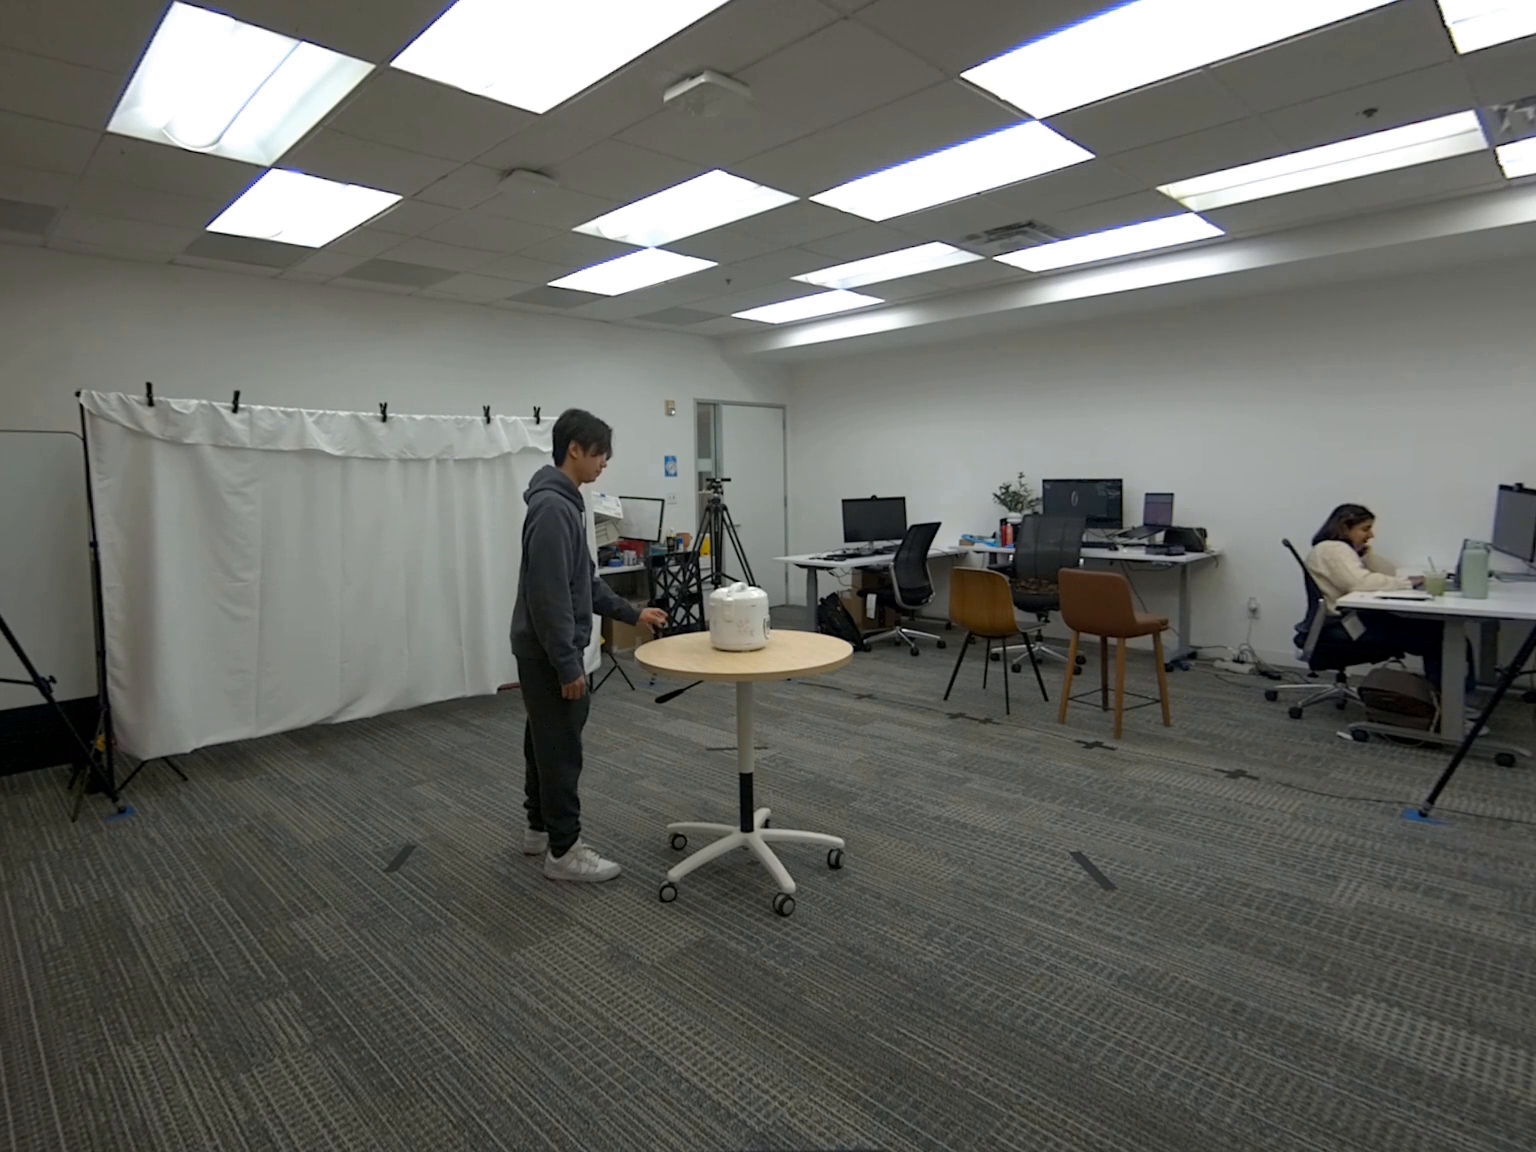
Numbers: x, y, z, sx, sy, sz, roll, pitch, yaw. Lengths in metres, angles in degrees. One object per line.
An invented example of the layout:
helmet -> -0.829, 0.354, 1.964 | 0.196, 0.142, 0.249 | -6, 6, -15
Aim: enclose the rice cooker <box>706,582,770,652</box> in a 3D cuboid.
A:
rice cooker -> -0.103, 0.135, 3.032 | 0.222, 0.232, 0.217 | 0, 5, 21
